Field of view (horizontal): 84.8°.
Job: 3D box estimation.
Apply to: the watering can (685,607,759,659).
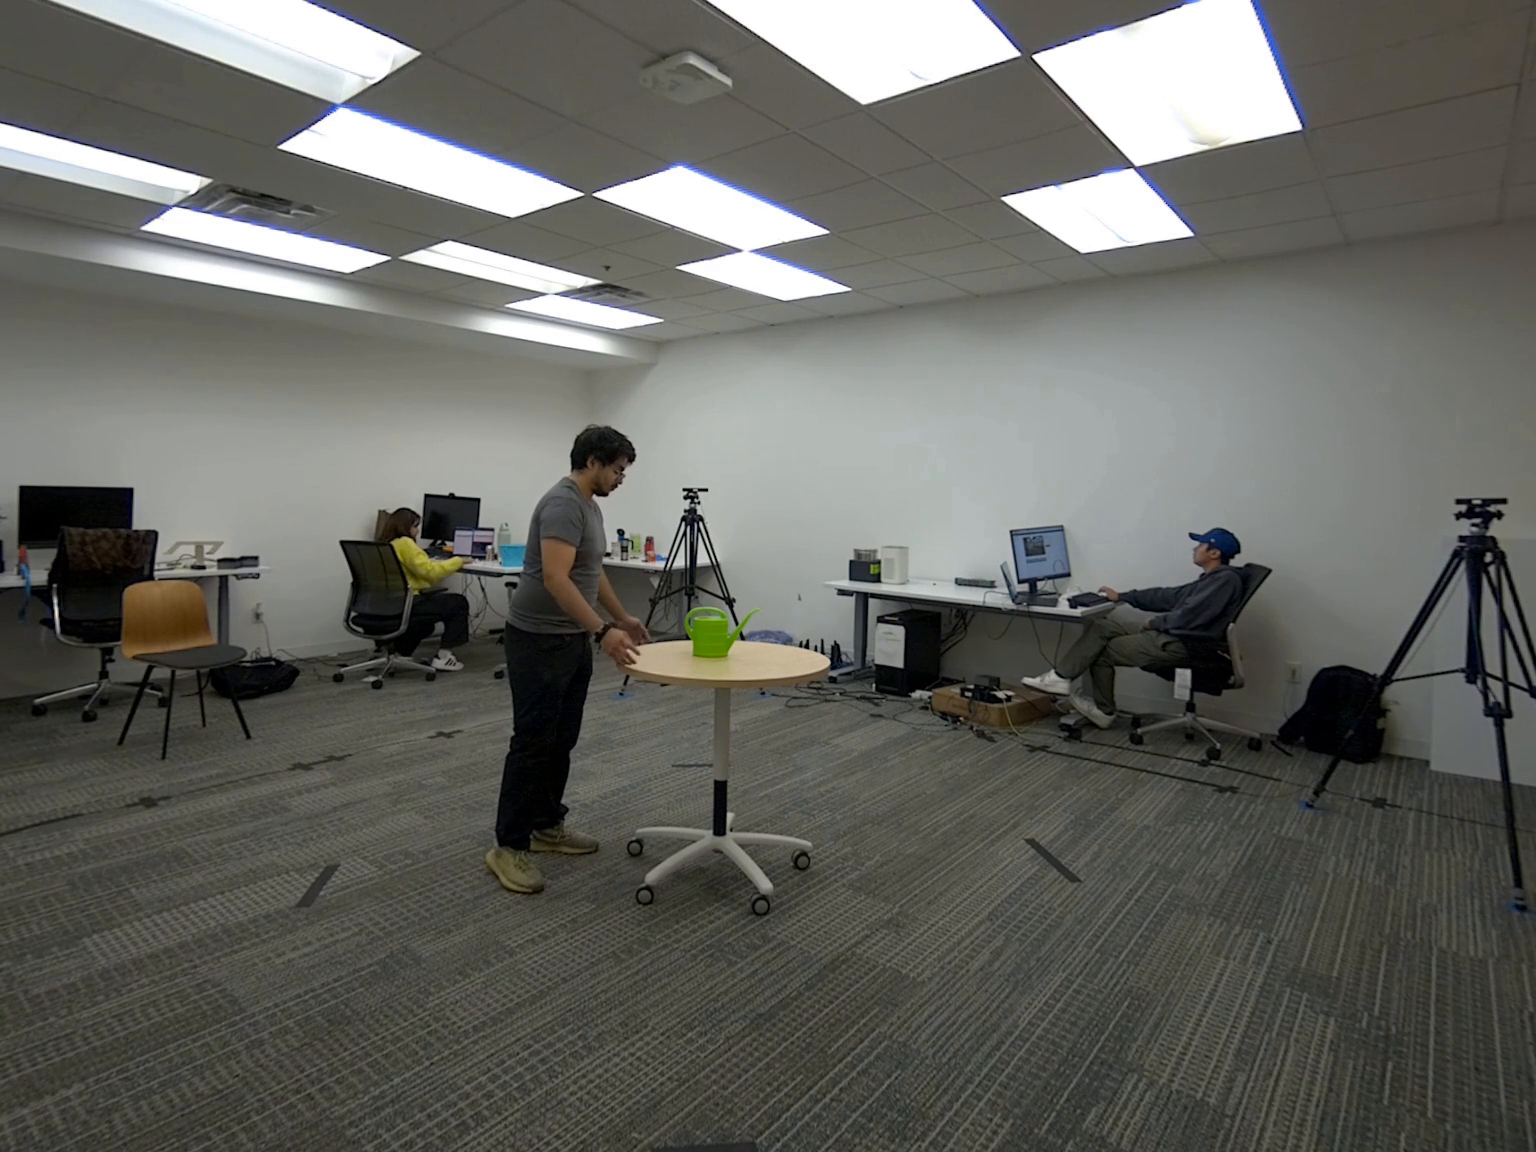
[{"bbox_3d":[-0.179,0.202,3.087,0.283,0.176,0.096,1,3,17],"label":"watering can"}]
